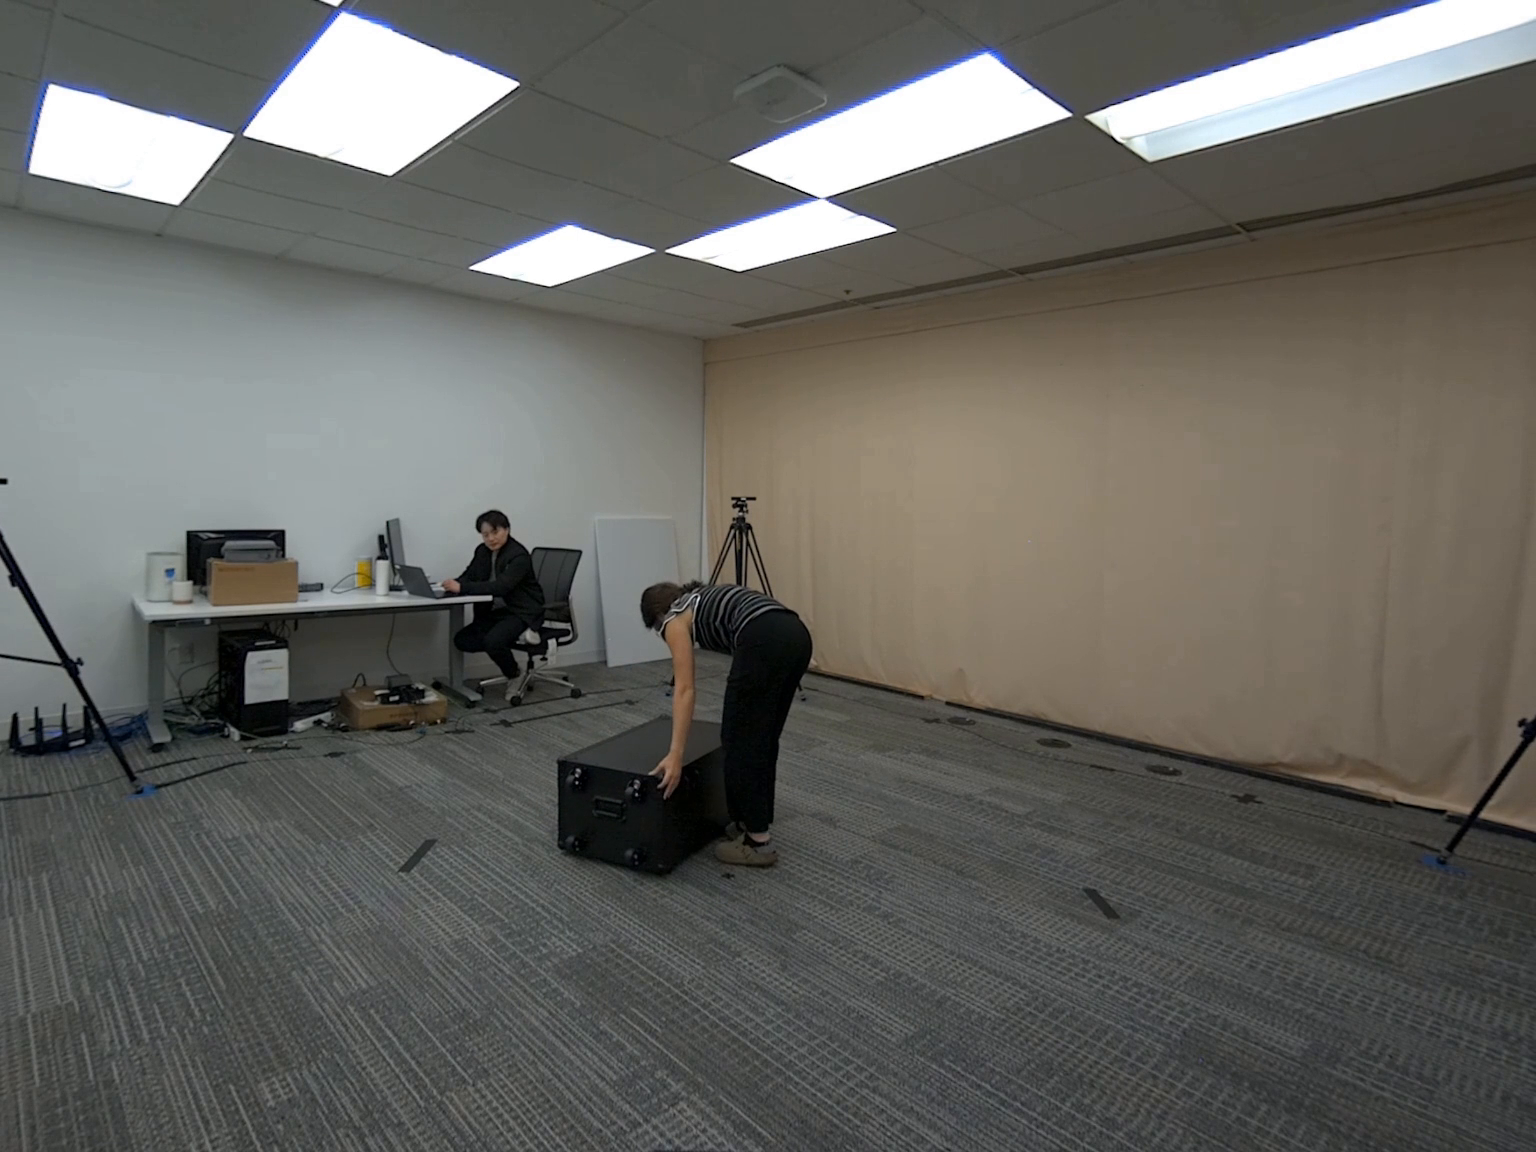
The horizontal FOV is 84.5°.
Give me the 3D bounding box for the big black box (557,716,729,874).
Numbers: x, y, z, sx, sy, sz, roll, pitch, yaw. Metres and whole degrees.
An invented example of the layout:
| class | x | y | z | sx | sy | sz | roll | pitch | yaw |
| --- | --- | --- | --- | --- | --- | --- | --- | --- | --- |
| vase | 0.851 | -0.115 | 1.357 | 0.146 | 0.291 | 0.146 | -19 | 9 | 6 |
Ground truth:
| class | x | y | z | sx | sy | sz | roll | pitch | yaw |
| --- | --- | --- | --- | --- | --- | --- | --- | --- | --- |
| big black box | -0.457 | 0.873 | 3.459 | 0.531 | 0.395 | 0.847 | 3 | 4 | 25 |
